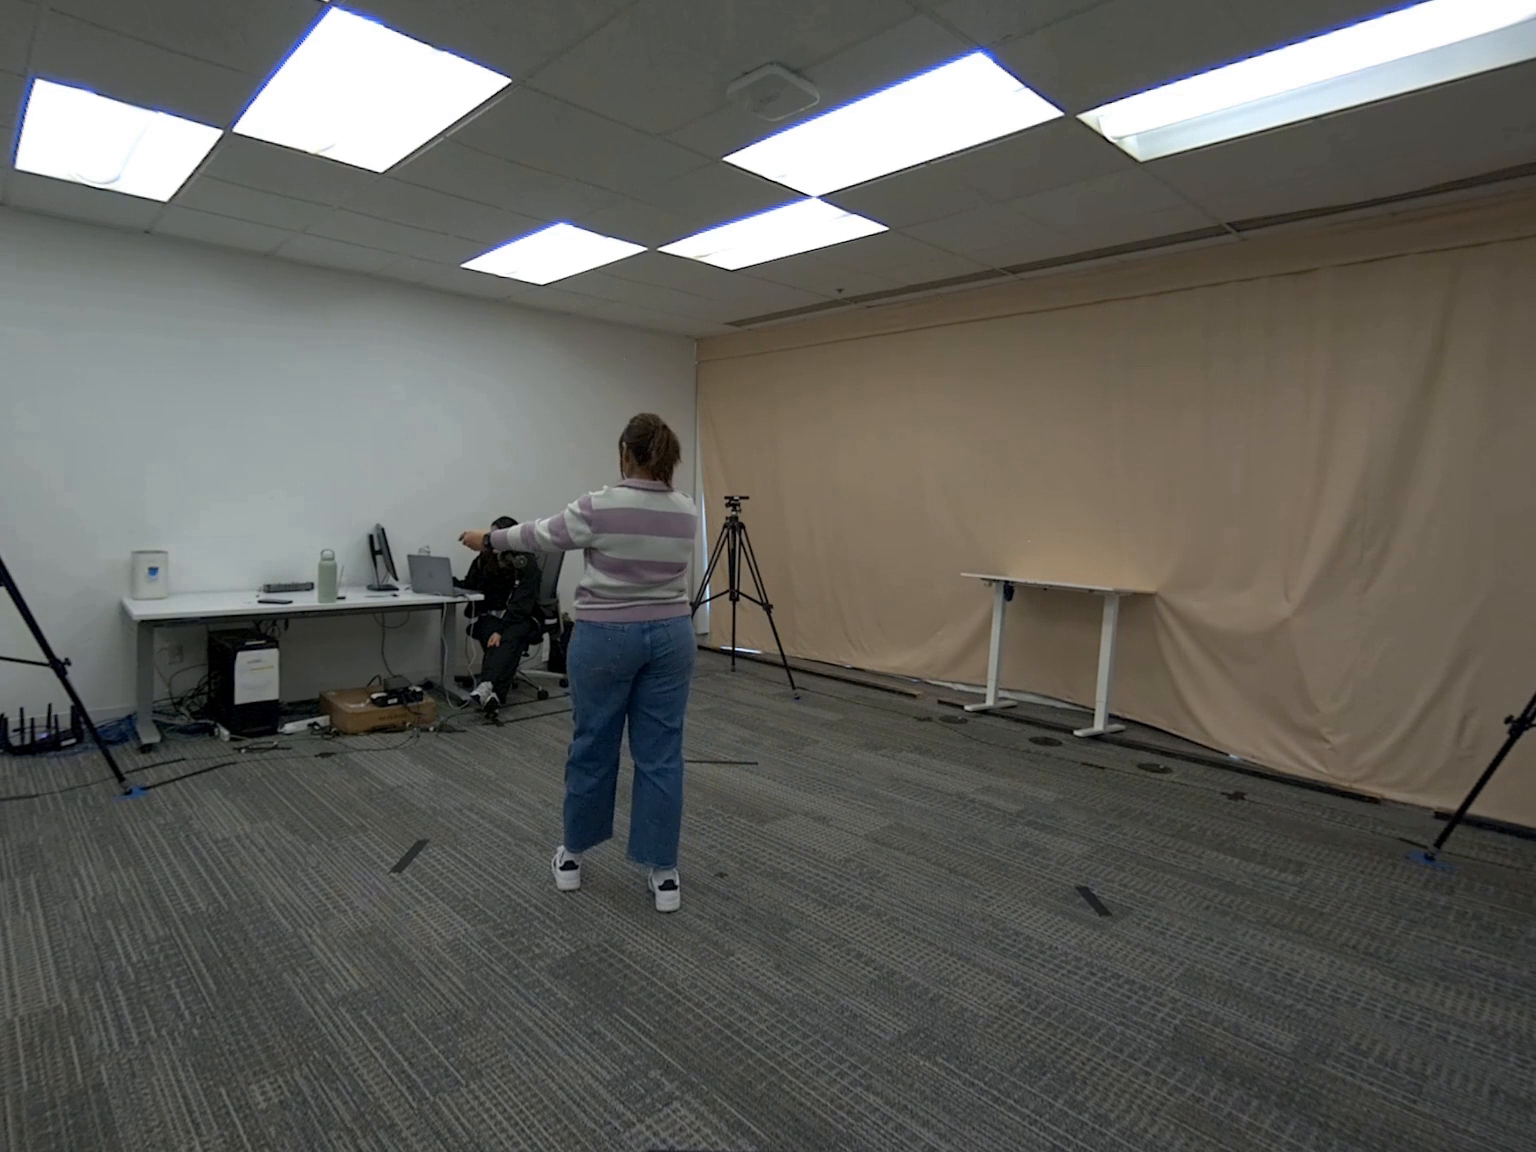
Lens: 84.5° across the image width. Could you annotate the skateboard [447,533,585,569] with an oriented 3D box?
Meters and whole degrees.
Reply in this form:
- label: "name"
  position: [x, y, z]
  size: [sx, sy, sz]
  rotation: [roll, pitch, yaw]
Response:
- label: "skateboard"
  position: [-0.834, -0.101, 3.323]
  size: [0.768, 0.110, 0.198]
  rotation: [-1, 7, -35]
